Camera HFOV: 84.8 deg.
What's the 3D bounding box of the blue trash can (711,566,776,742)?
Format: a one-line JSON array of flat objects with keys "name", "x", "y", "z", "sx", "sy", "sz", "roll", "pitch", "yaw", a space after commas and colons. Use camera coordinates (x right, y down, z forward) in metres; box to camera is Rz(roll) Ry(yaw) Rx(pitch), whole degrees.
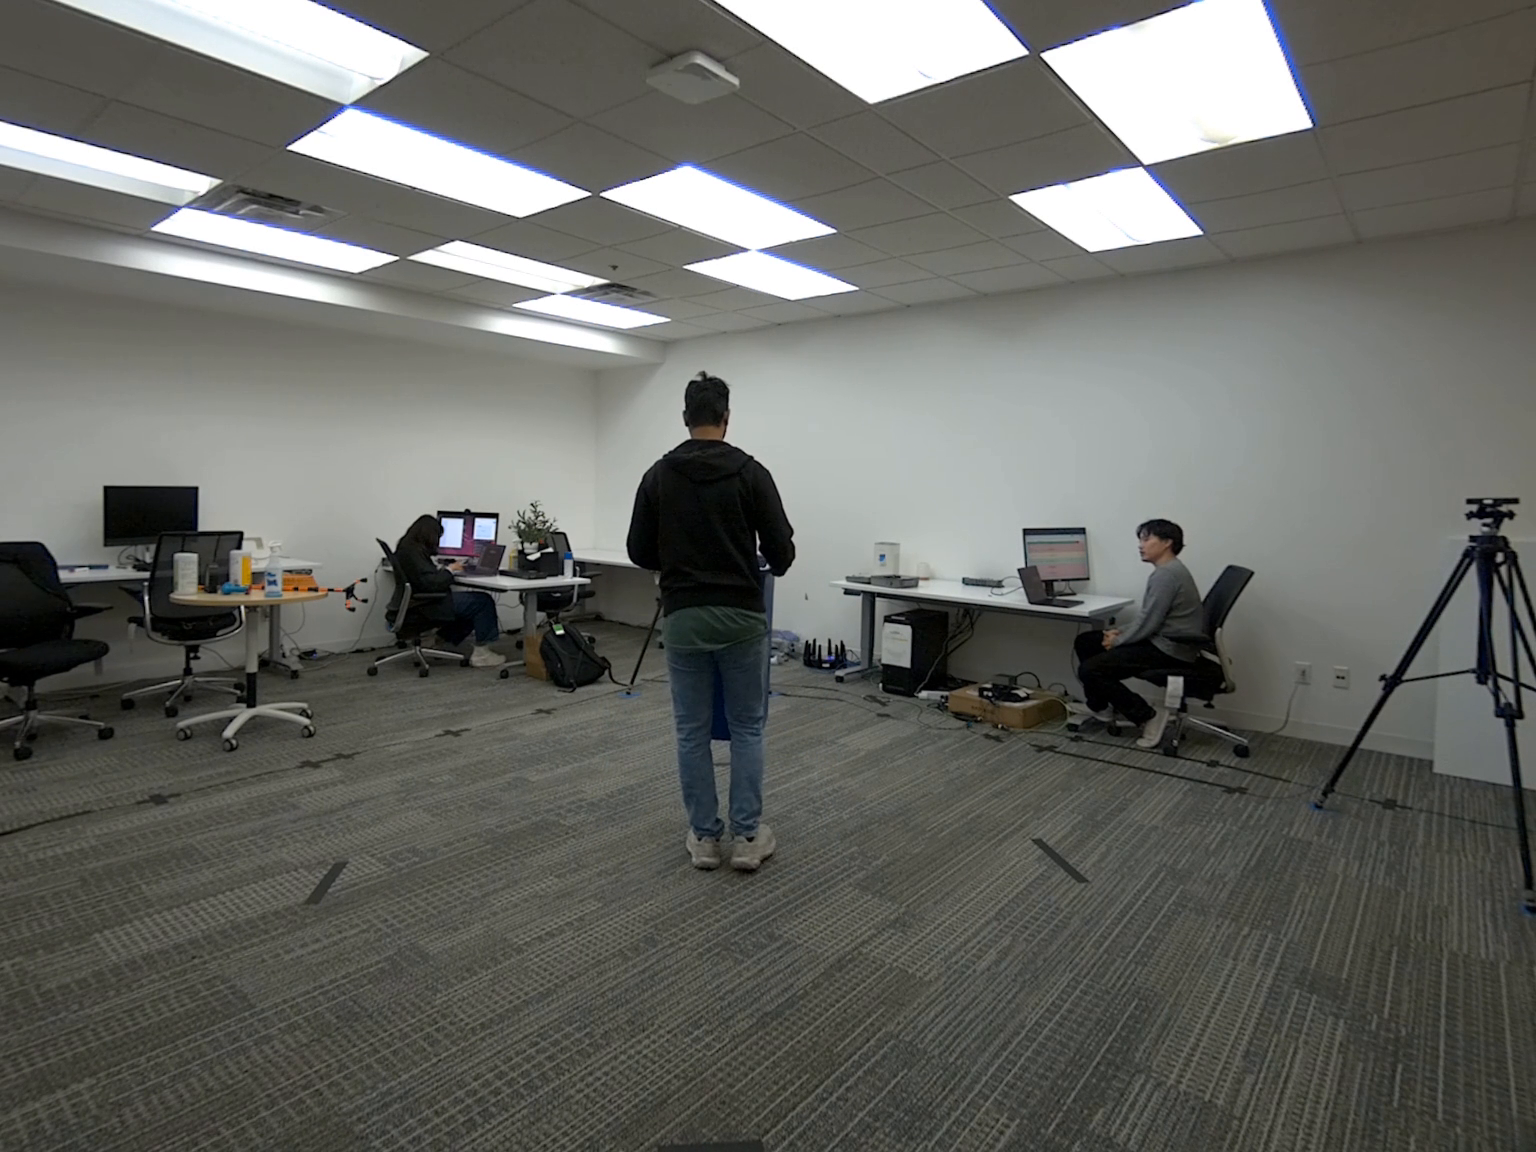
[{"name": "blue trash can", "x": -0.166, "y": 0.283, "z": 3.501, "sx": 0.378, "sy": 0.708, "sz": 0.377, "roll": 2, "pitch": 9, "yaw": 9}]
